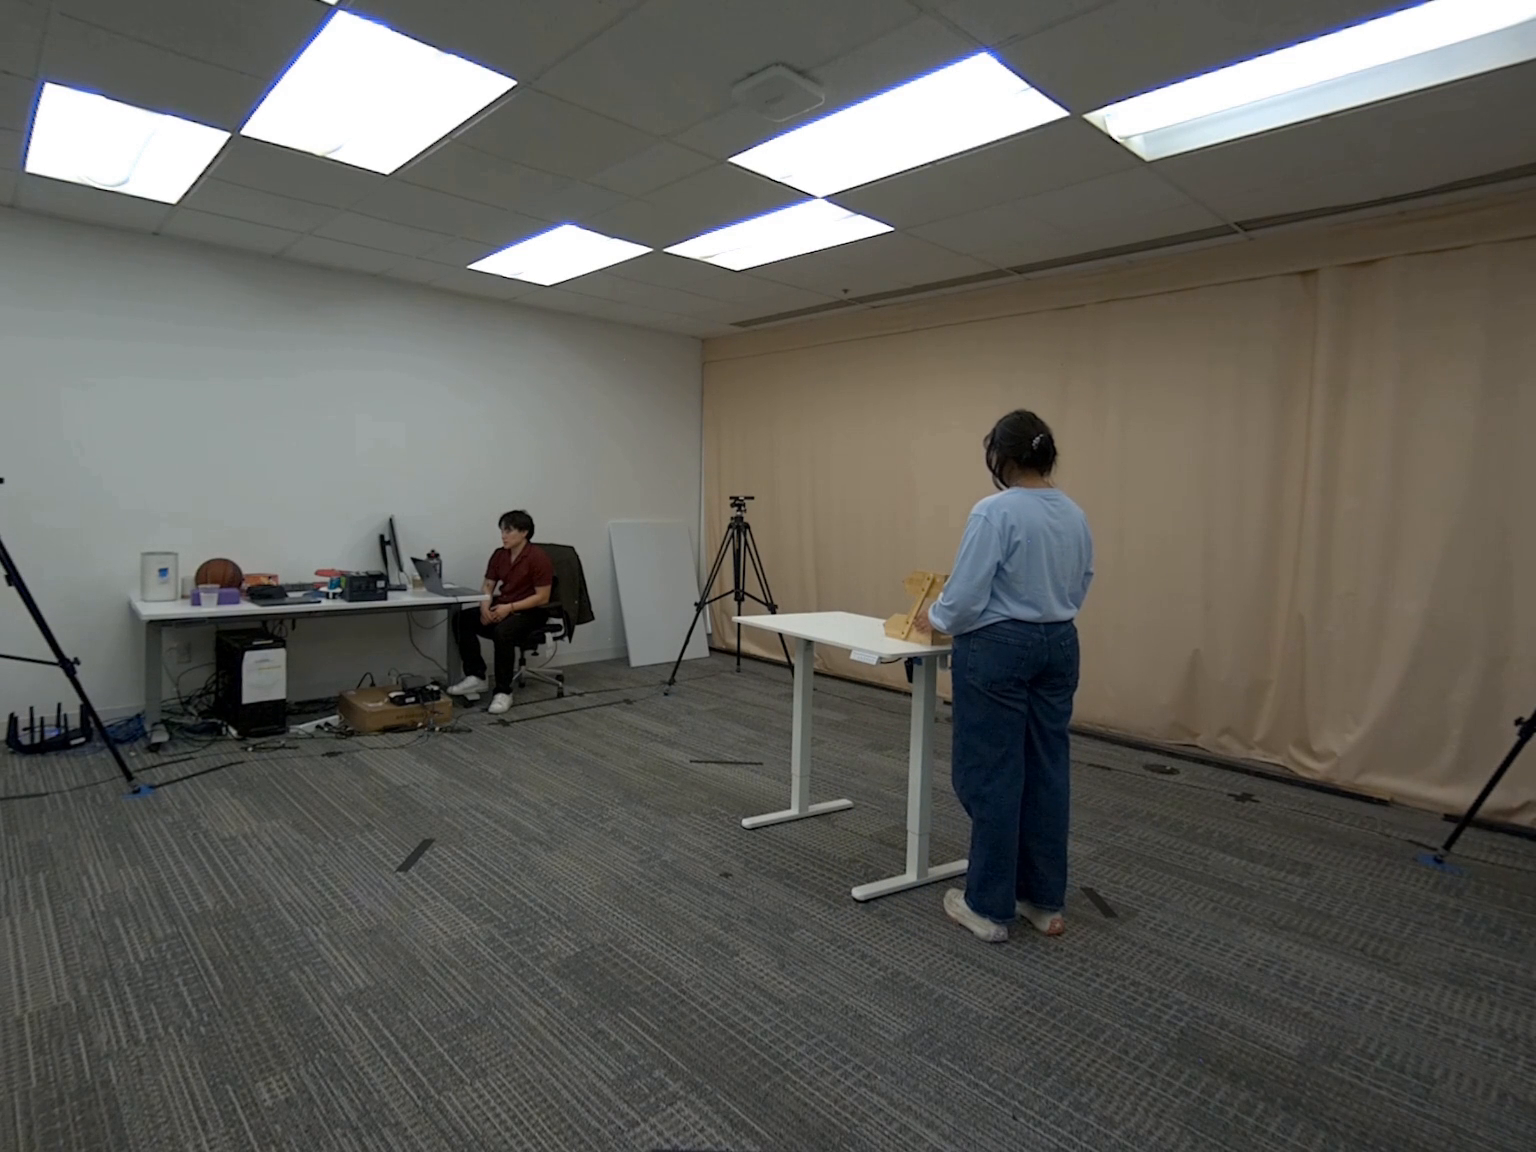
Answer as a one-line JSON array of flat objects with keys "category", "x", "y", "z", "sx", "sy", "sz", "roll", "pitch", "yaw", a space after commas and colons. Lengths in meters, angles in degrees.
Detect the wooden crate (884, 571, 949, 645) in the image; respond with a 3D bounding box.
[{"category": "wooden crate", "x": 0.645, "y": 0.106, "z": 3.138, "sx": 0.317, "sy": 0.272, "sz": 0.309, "roll": 0, "pitch": 5, "yaw": -34}]
